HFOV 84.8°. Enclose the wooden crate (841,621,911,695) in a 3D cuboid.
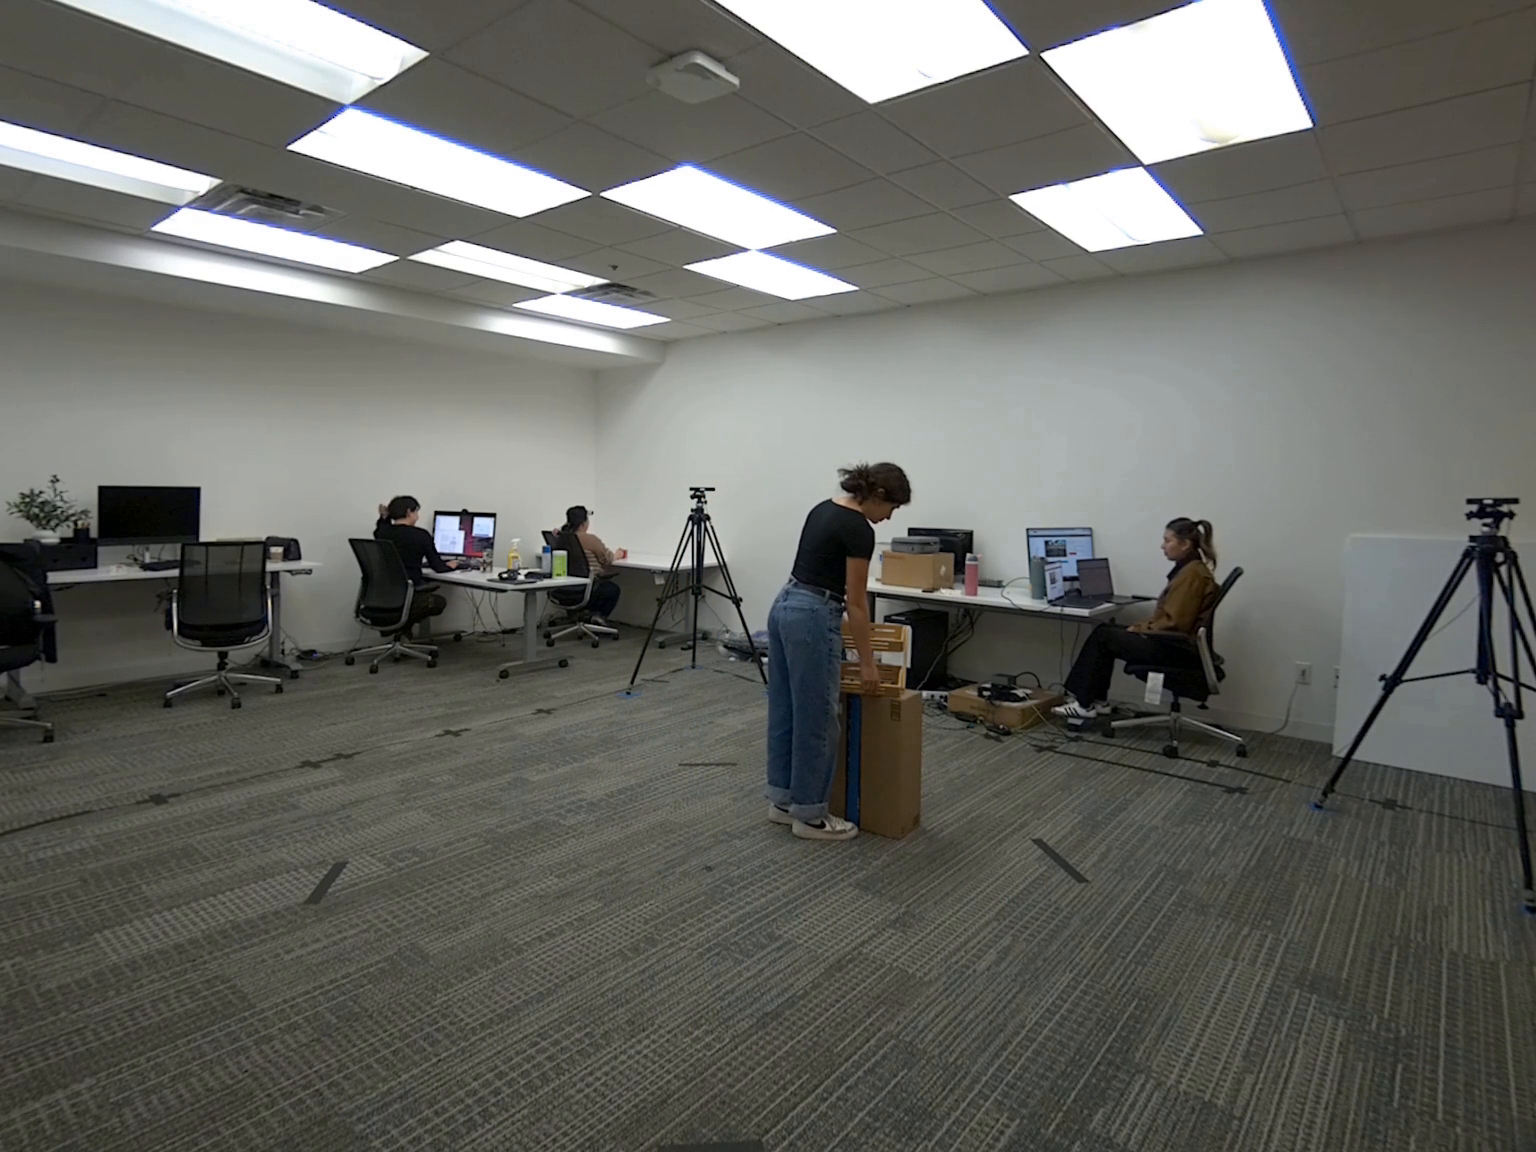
[{"bbox_3d":[0.413,0.339,3.580,0.330,0.273,0.297,2,2,15],"label":"wooden crate"}]
